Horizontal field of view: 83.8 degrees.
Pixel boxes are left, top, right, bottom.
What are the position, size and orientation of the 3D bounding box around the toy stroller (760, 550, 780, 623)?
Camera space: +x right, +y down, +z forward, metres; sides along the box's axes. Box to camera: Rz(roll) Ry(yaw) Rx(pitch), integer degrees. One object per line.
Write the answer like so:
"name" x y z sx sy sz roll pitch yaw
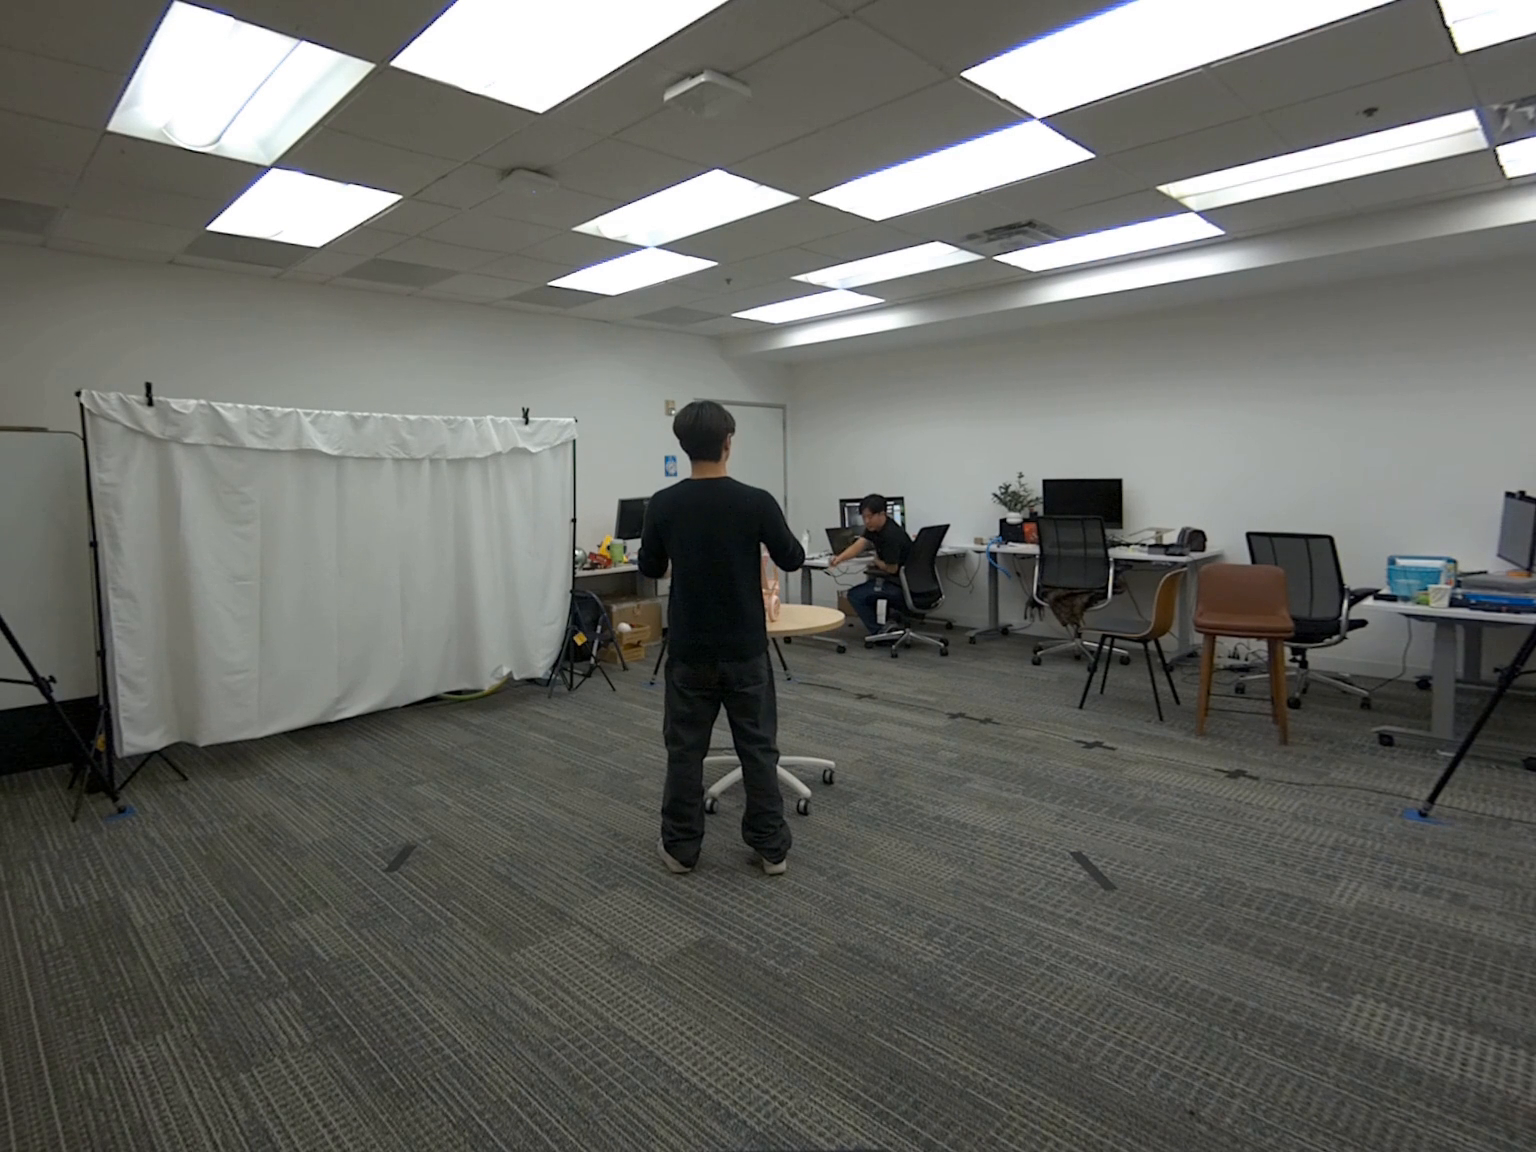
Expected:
"toy stroller" -0.070 -0.036 3.760 0.287 0.526 0.340 0 19 22
